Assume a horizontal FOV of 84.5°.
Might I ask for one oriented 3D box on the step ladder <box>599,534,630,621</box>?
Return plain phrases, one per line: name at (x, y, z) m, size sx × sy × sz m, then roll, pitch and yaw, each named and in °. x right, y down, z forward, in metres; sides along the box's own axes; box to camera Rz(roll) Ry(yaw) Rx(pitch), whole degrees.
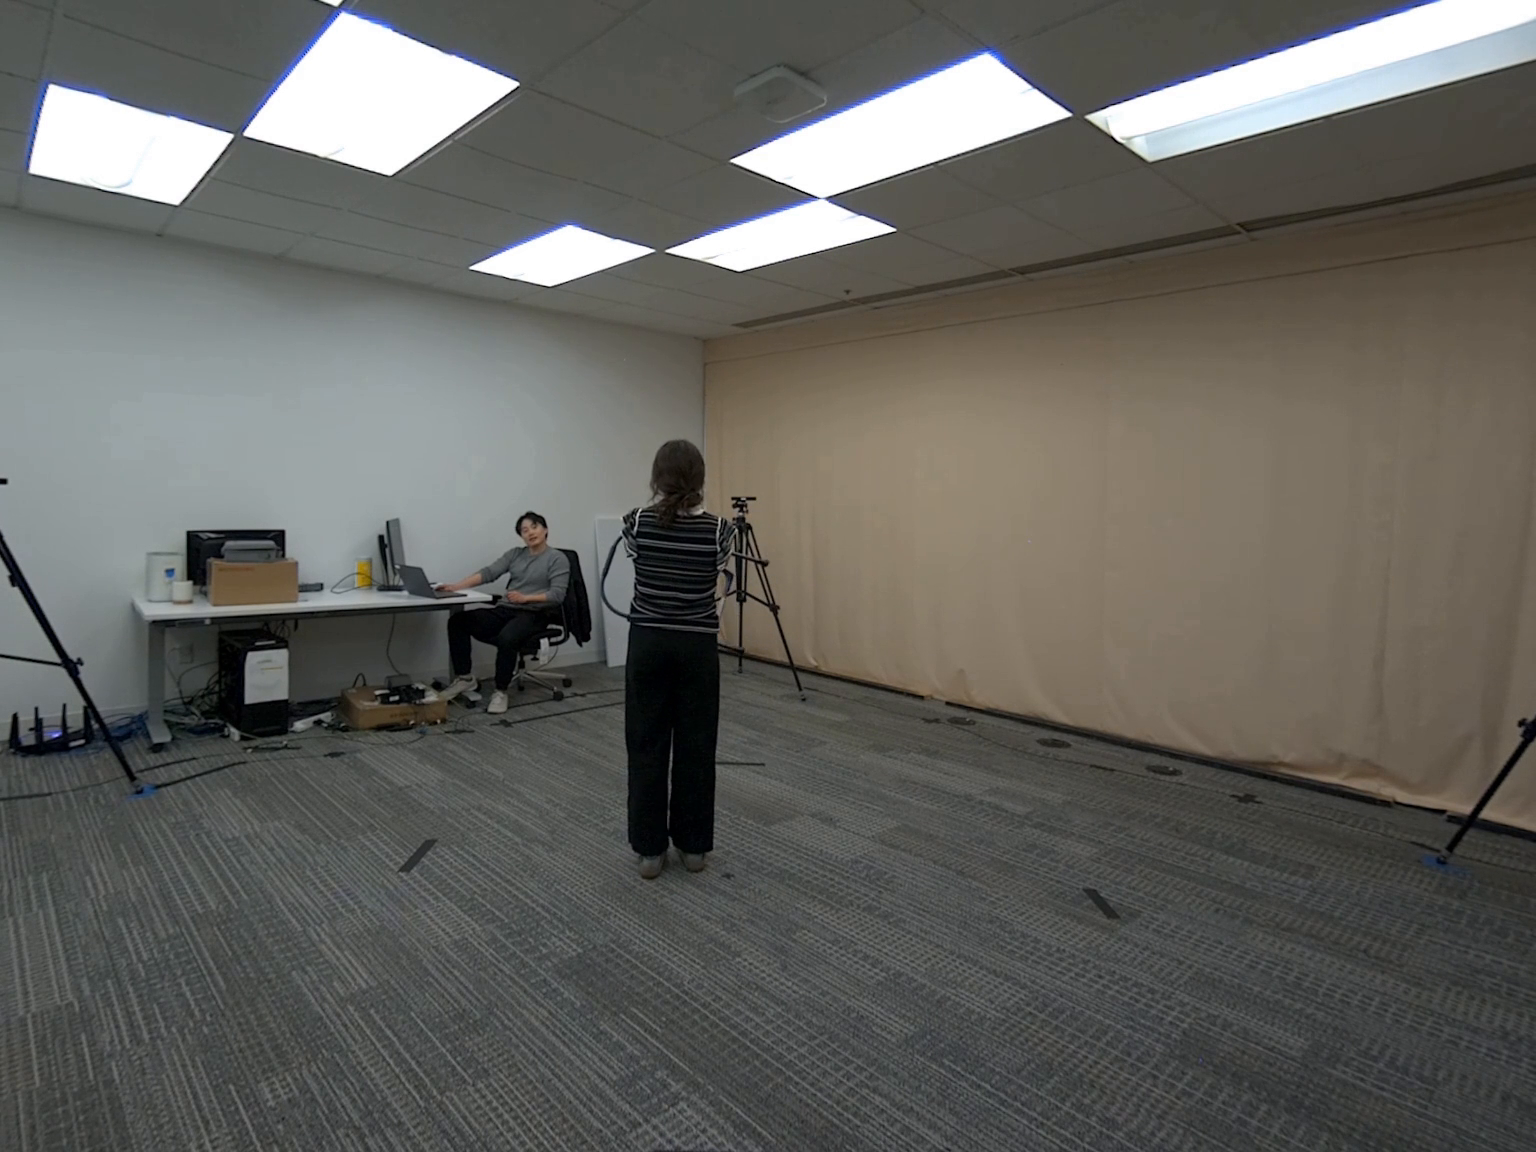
step ladder at (-0.382, 0.032, 3.559) m, size 0.594 × 0.435 × 0.353 m, roll 24°, pitch -22°, yaw -21°
